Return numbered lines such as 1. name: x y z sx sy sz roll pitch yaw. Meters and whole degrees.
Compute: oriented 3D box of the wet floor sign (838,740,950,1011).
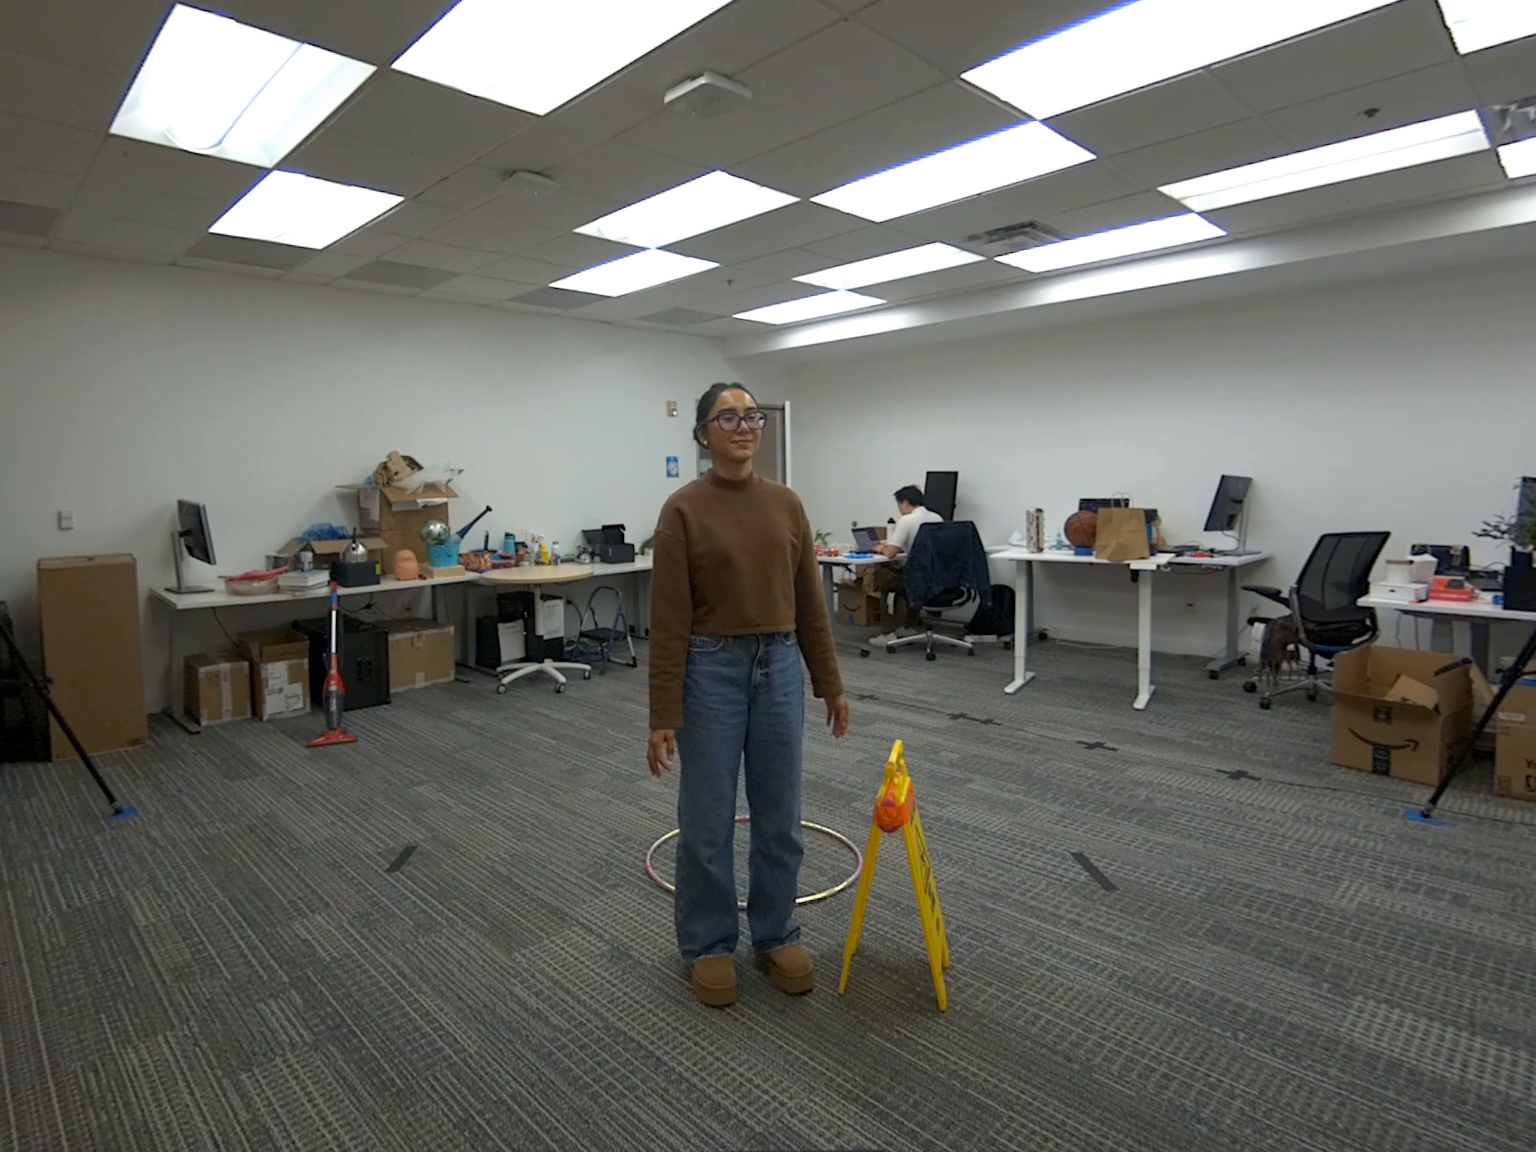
1. wet floor sign: 0.357 0.794 2.372 0.294 0.643 0.279 0 5 16
